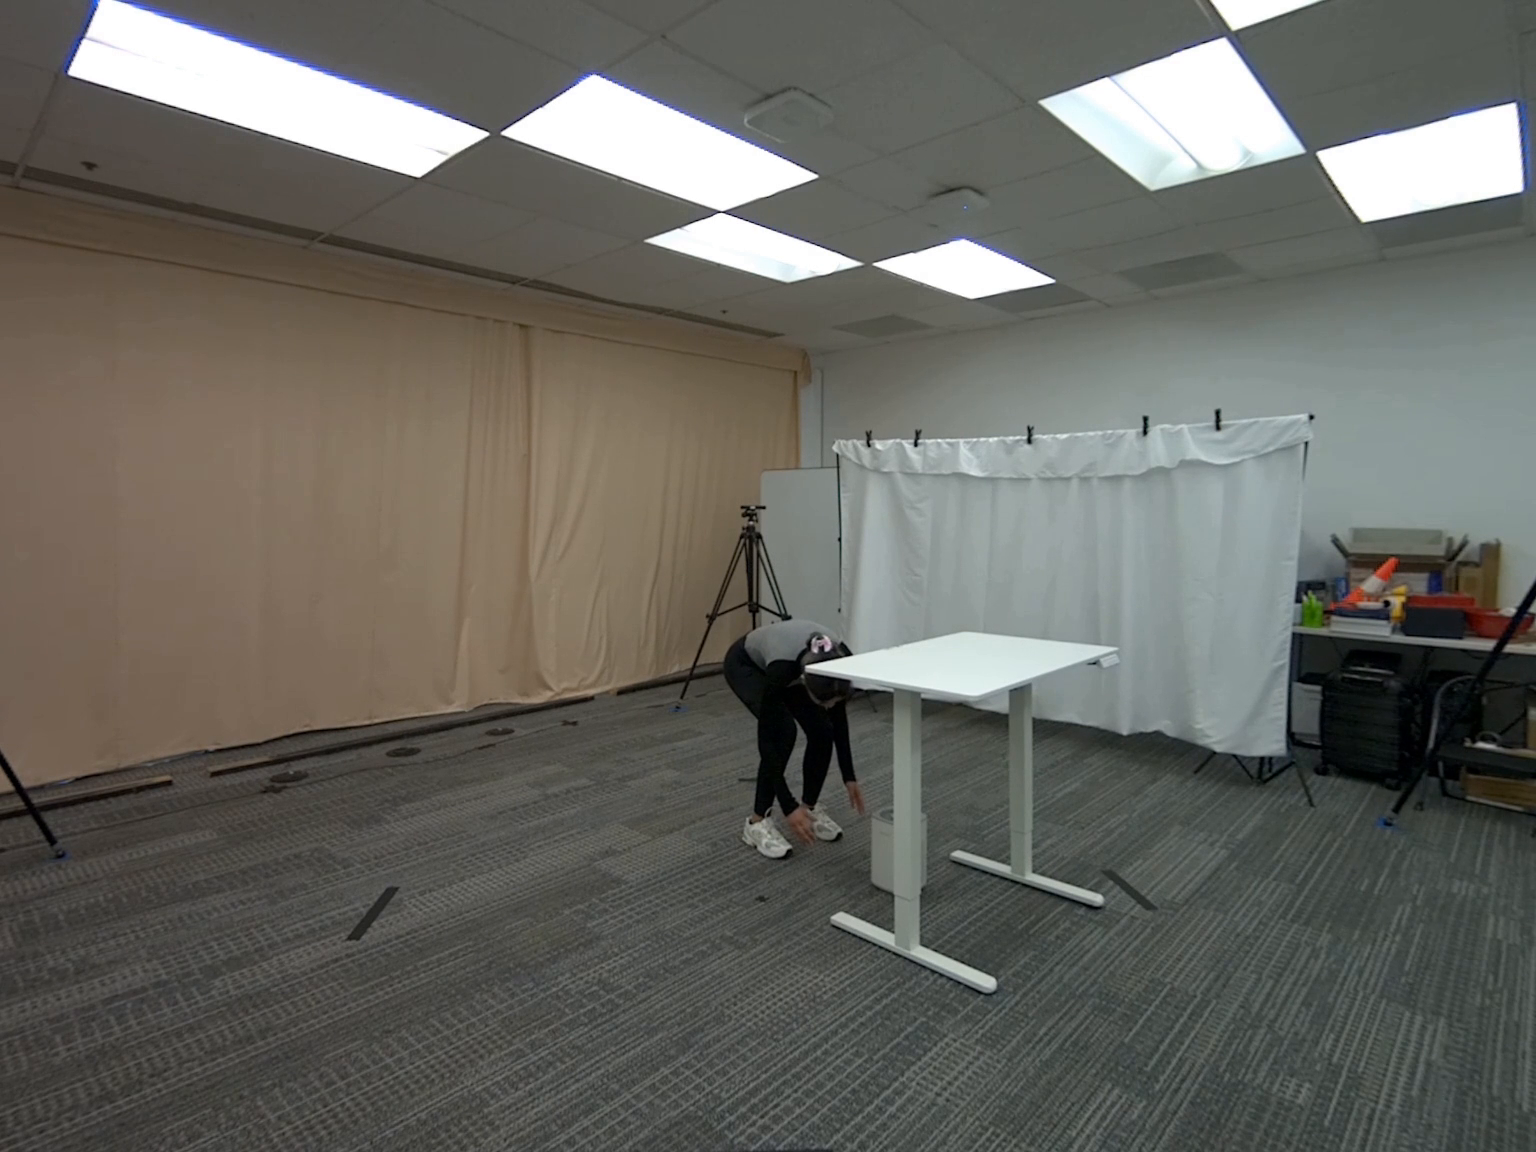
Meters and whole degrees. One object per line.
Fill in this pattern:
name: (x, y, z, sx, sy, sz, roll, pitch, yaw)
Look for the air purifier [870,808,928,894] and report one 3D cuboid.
air purifier: (0.480, 0.999, 3.071, 0.177, 0.265, 0.166, 4, 5, 42)
